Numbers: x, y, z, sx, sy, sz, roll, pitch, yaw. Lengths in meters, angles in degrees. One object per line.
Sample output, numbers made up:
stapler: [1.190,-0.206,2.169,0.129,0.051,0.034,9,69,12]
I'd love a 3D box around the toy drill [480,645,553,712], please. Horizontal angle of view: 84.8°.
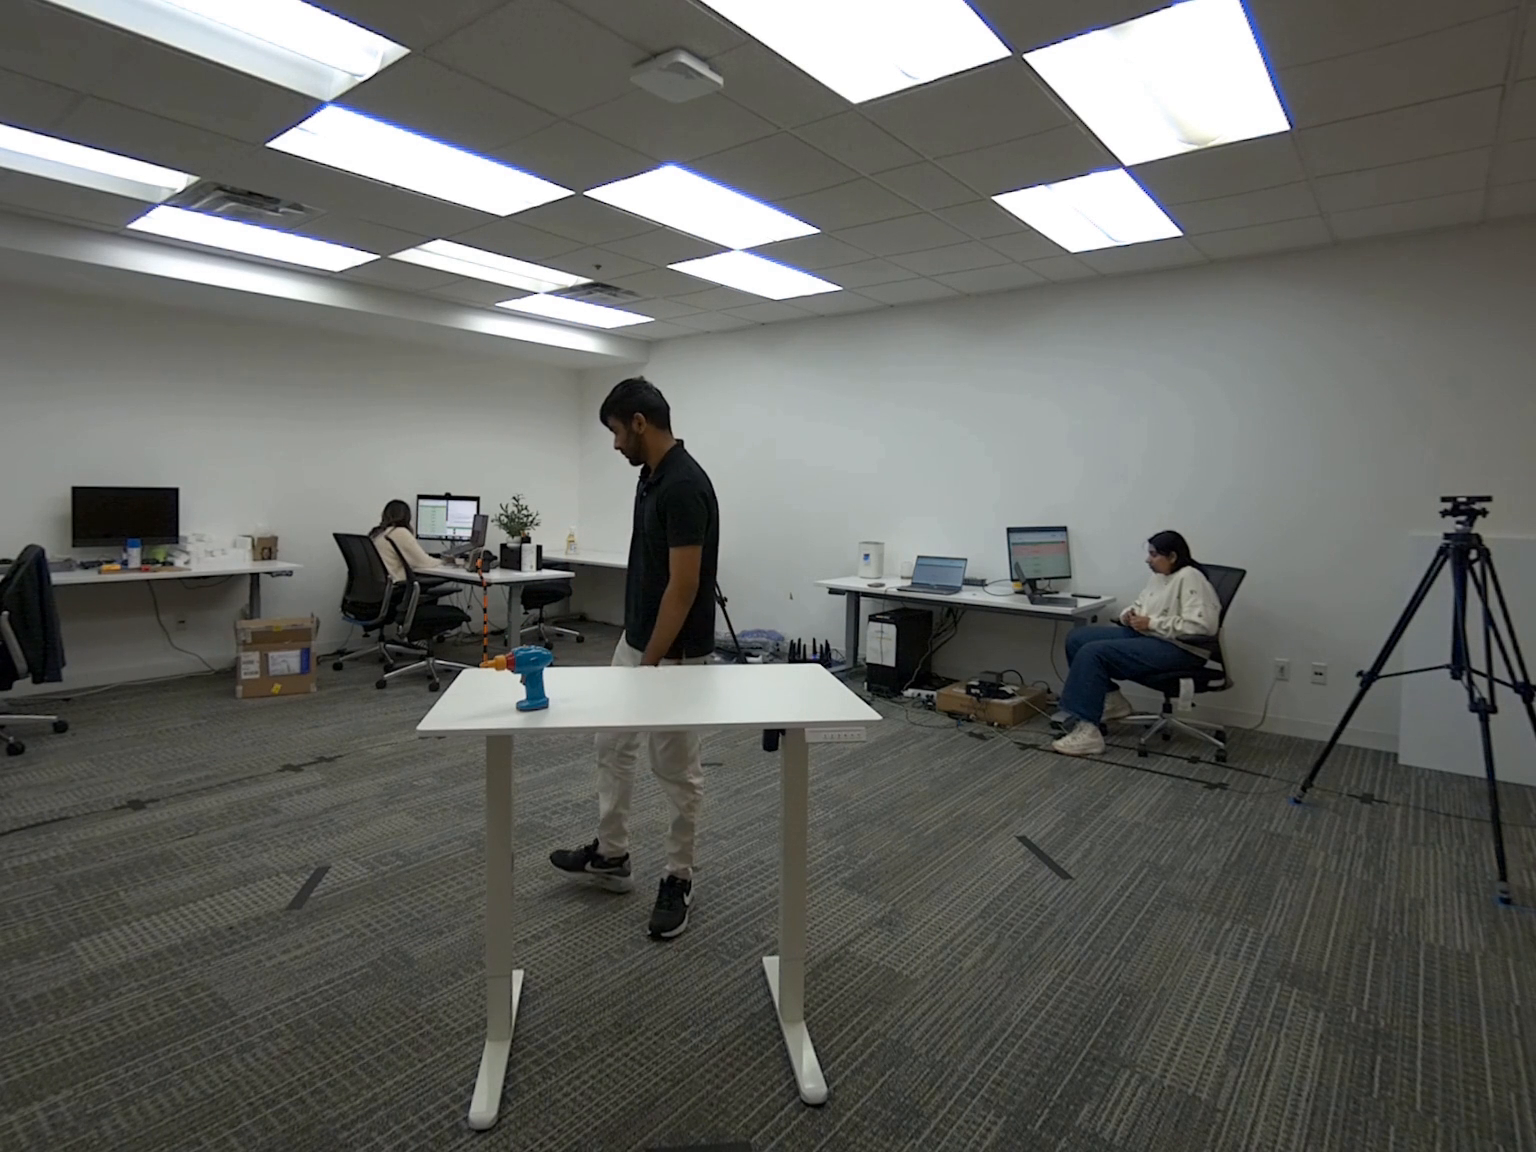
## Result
toy drill: [-0.573,0.227,1.918,0.165,0.145,0.063,-4,5,-36]
